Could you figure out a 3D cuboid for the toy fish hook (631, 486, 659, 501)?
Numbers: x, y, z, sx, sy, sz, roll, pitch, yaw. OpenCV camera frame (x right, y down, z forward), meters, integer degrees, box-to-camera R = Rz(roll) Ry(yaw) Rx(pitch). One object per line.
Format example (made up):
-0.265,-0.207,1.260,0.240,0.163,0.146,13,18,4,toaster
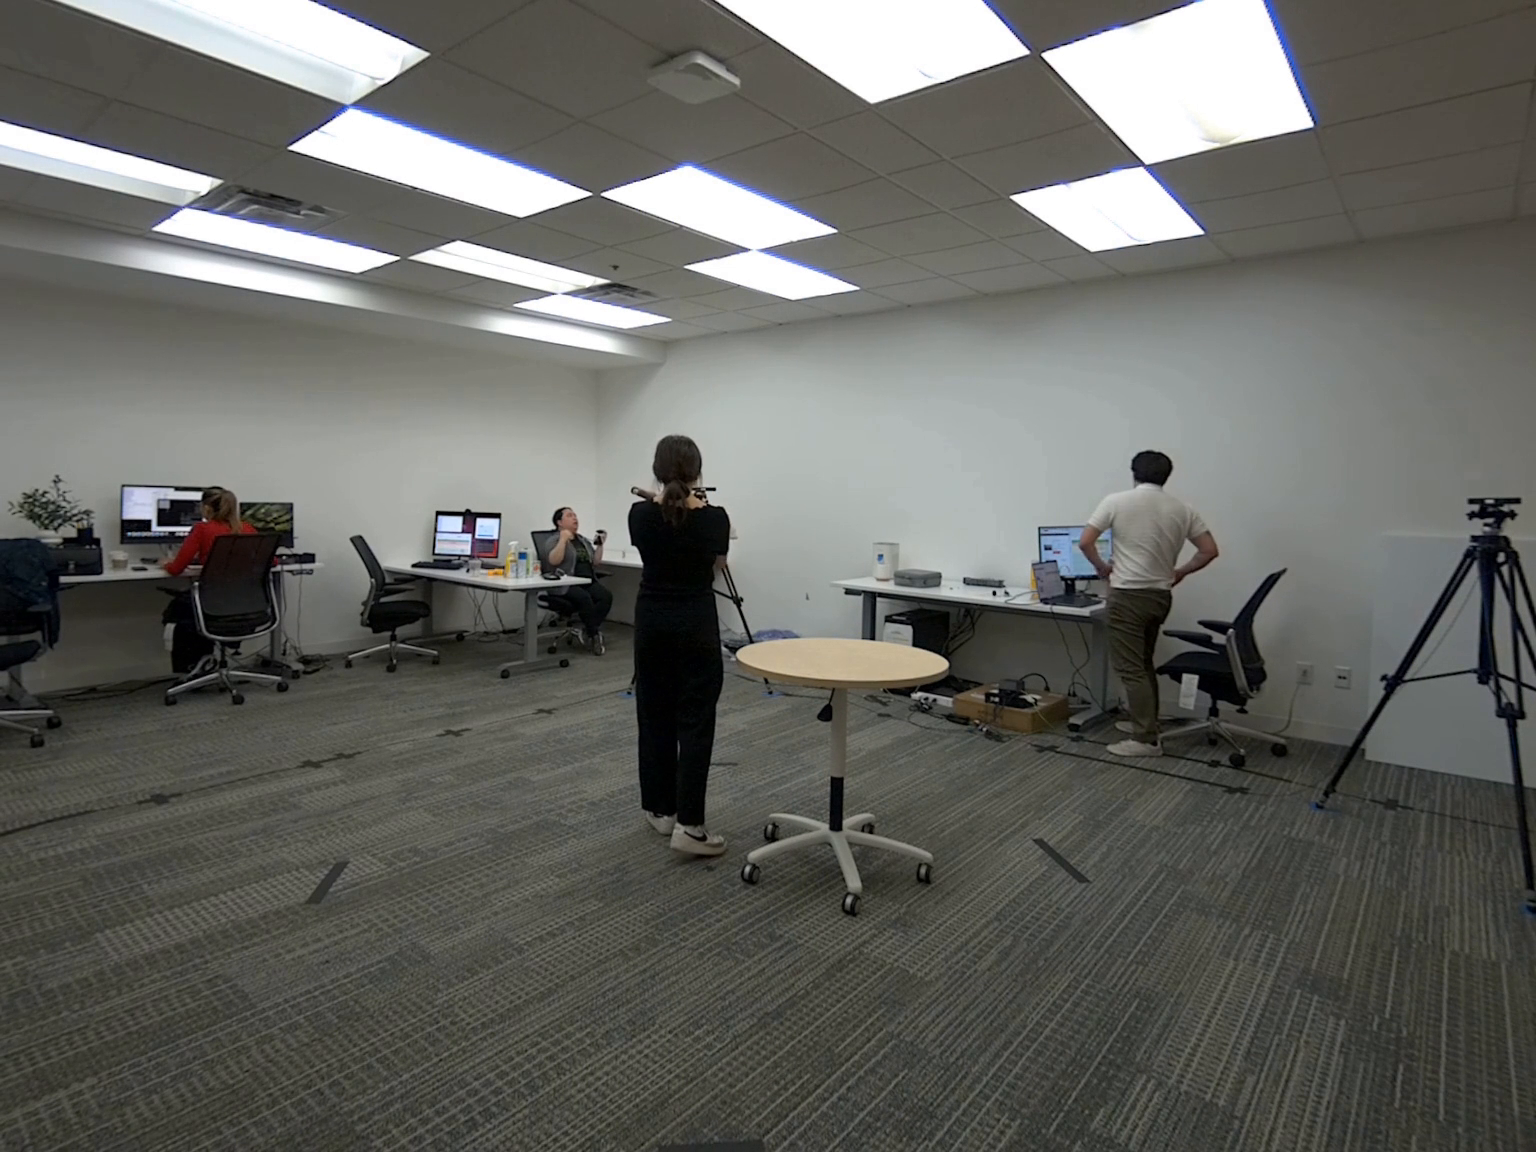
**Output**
-0.372,-0.267,3.707,0.495,0.048,0.231,21,17,-18,toy fish hook
